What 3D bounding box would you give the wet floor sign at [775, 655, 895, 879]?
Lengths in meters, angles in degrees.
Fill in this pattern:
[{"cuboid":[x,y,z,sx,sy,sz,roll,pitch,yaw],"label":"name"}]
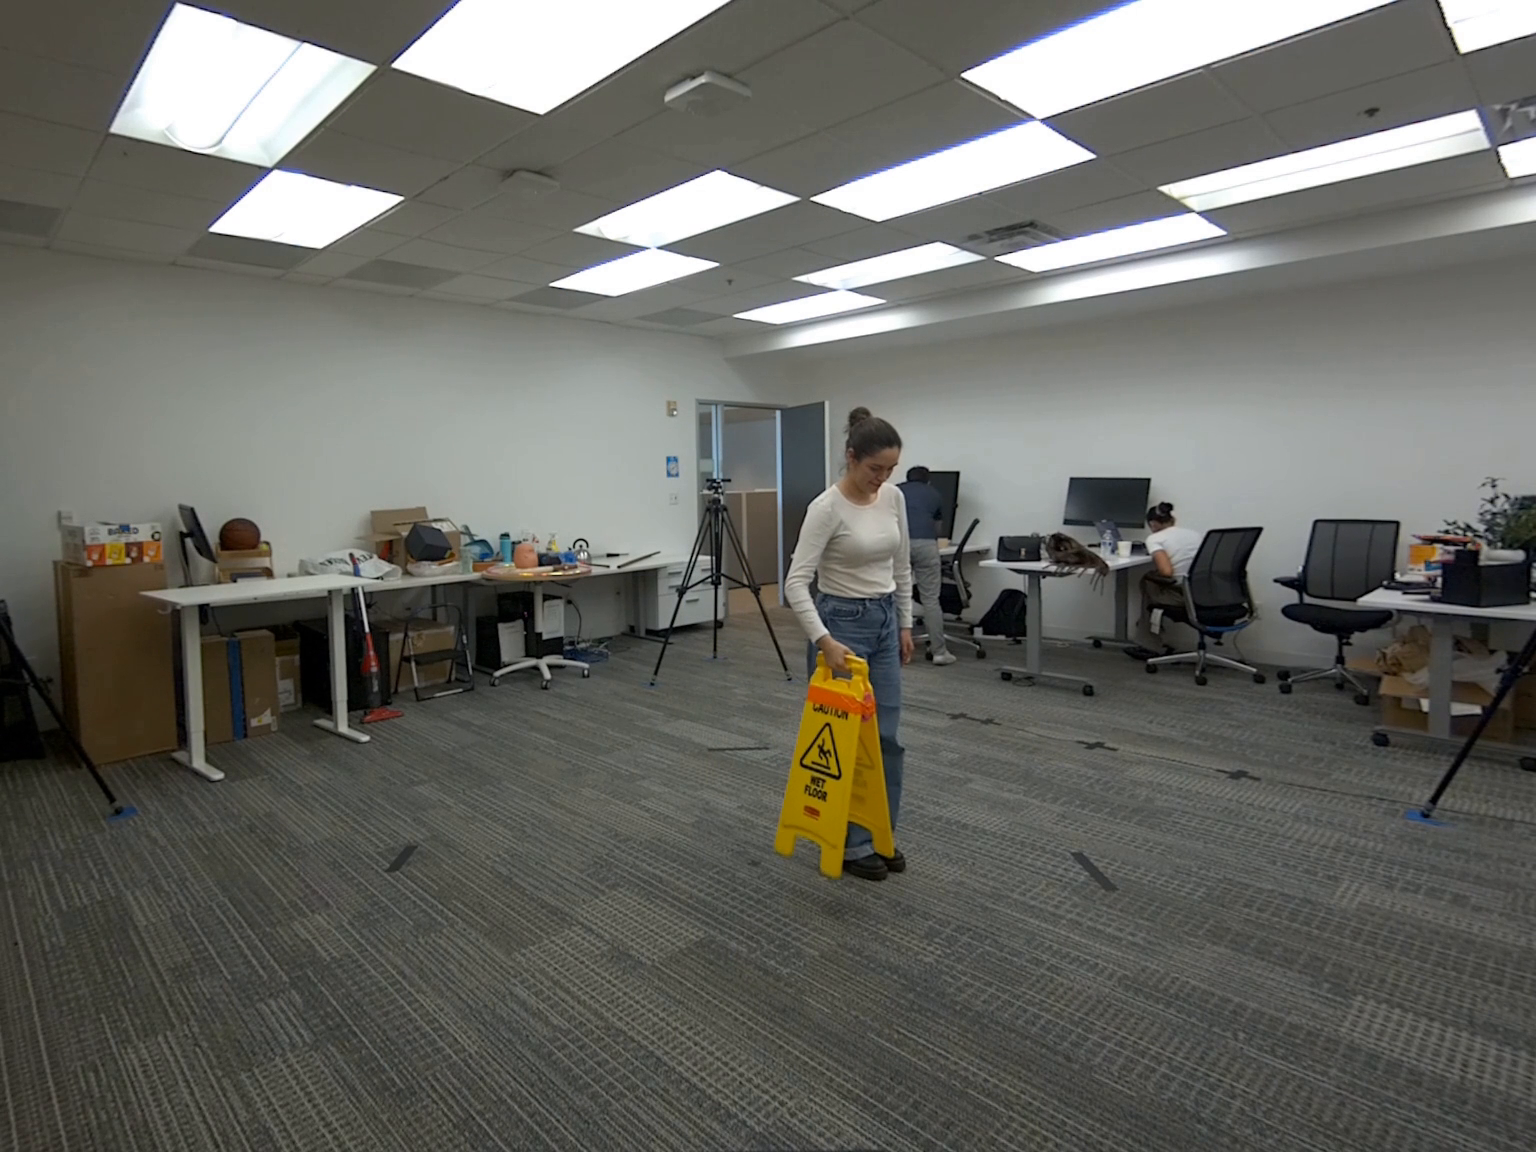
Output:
[{"cuboid":[0.226,0.577,2.747,0.281,0.645,0.291,0,2,-41],"label":"wet floor sign"}]
